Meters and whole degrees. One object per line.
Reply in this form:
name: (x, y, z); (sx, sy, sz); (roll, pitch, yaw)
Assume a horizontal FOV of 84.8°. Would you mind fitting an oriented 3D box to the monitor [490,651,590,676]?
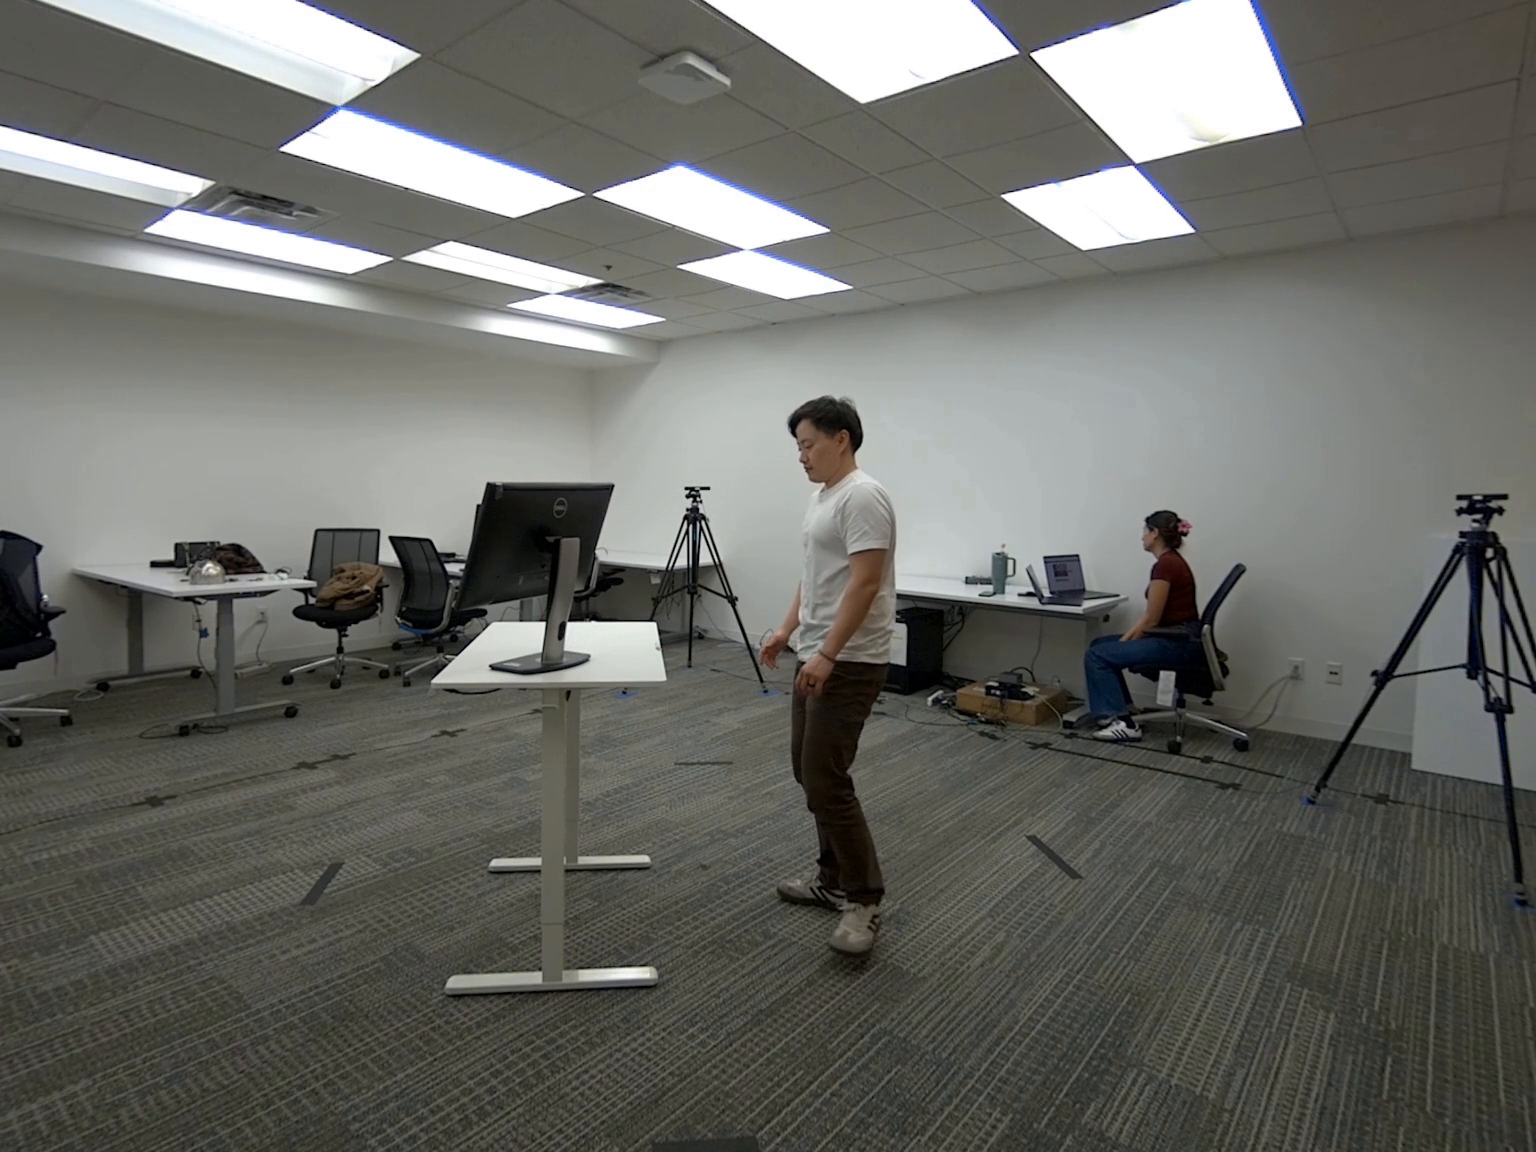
monitor: (-0.625, 0.000, 2.386); (0.192, 0.520, 0.528); (8, 7, 22)
